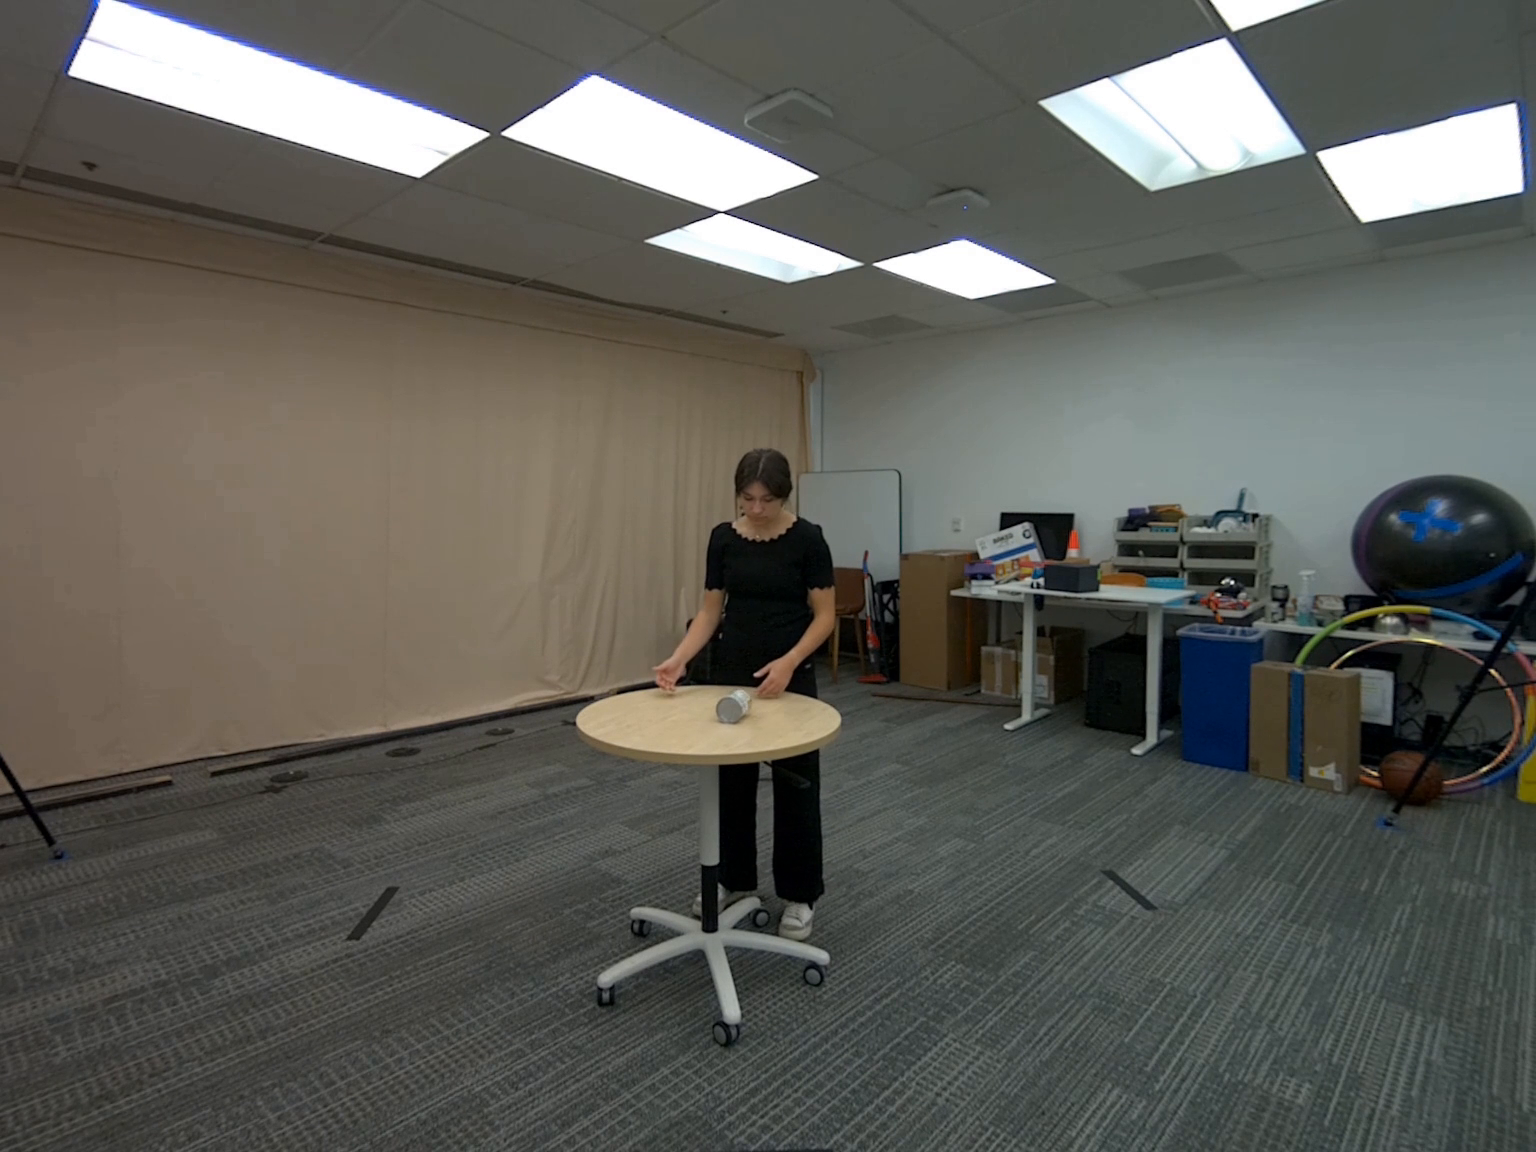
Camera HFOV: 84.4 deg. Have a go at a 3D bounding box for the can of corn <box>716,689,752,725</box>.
[{"bbox_3d":[-0.091,0.368,2.405,0.075,0.074,0.110,1,5,10],"label":"can of corn"}]
